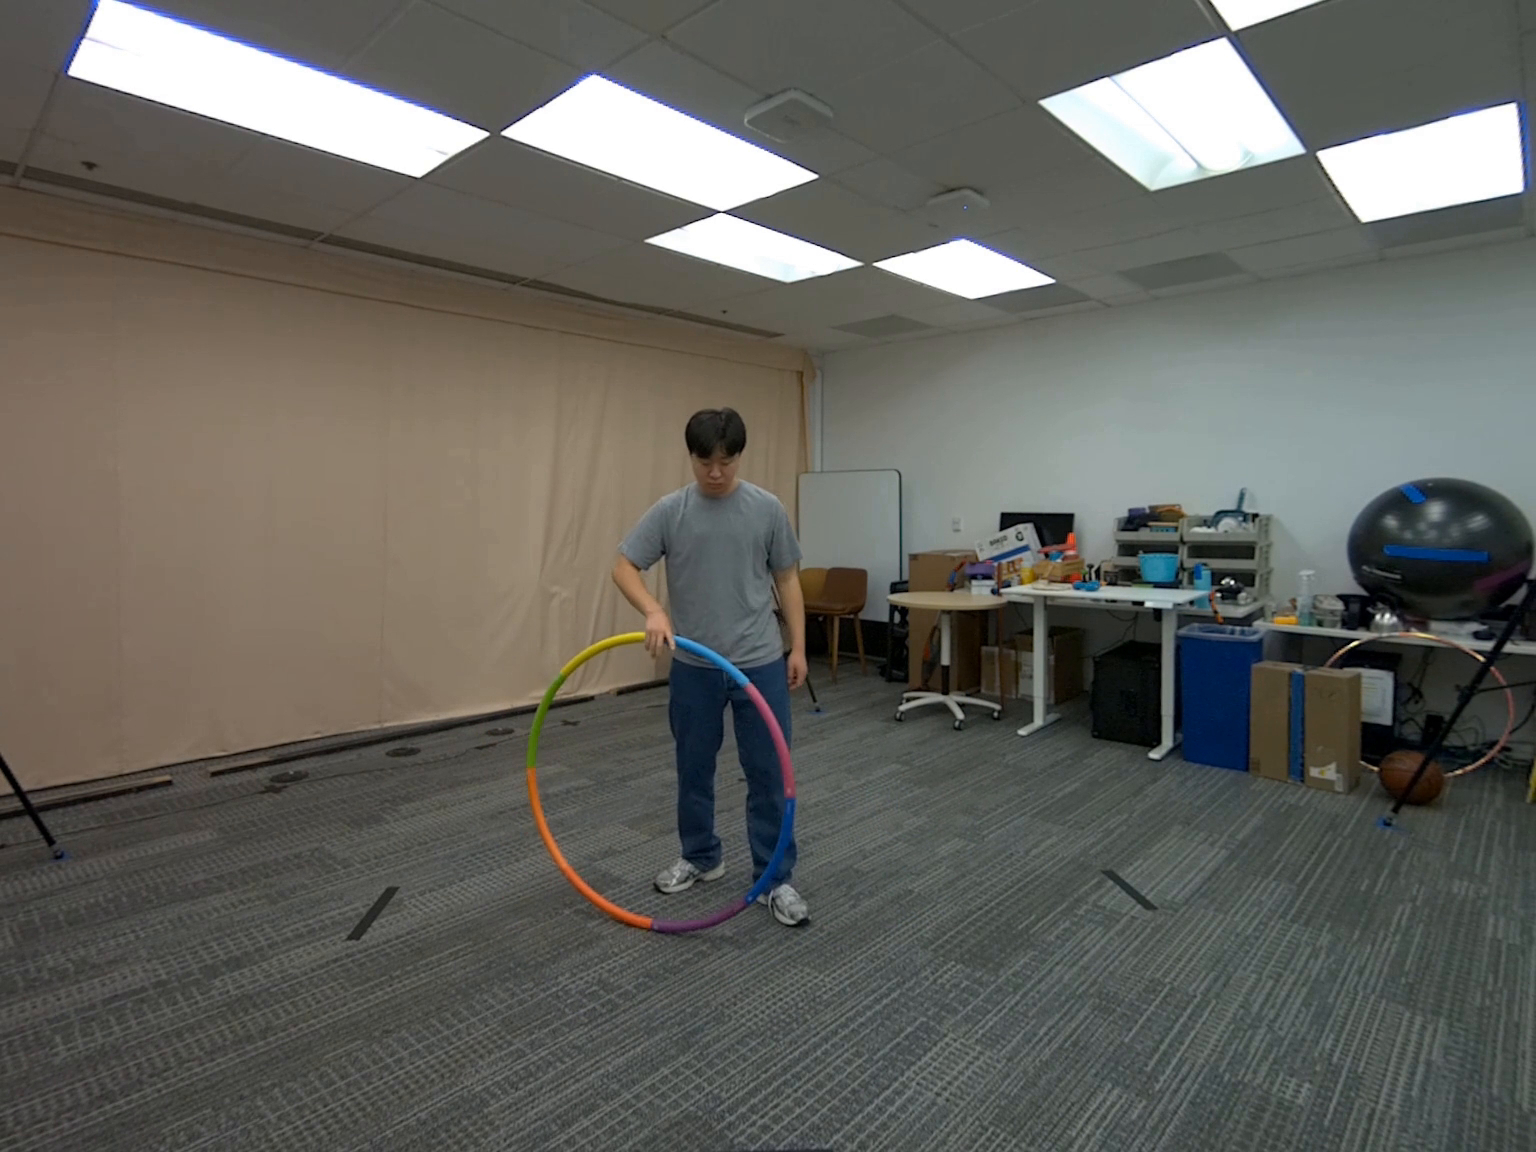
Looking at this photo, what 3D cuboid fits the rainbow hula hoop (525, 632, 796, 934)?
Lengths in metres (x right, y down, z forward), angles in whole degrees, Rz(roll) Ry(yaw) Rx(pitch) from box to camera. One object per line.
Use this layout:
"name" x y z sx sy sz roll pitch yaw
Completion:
"rainbow hula hoop" -0.386 0.672 2.779 1.002 0.978 0.035 1 1 23
